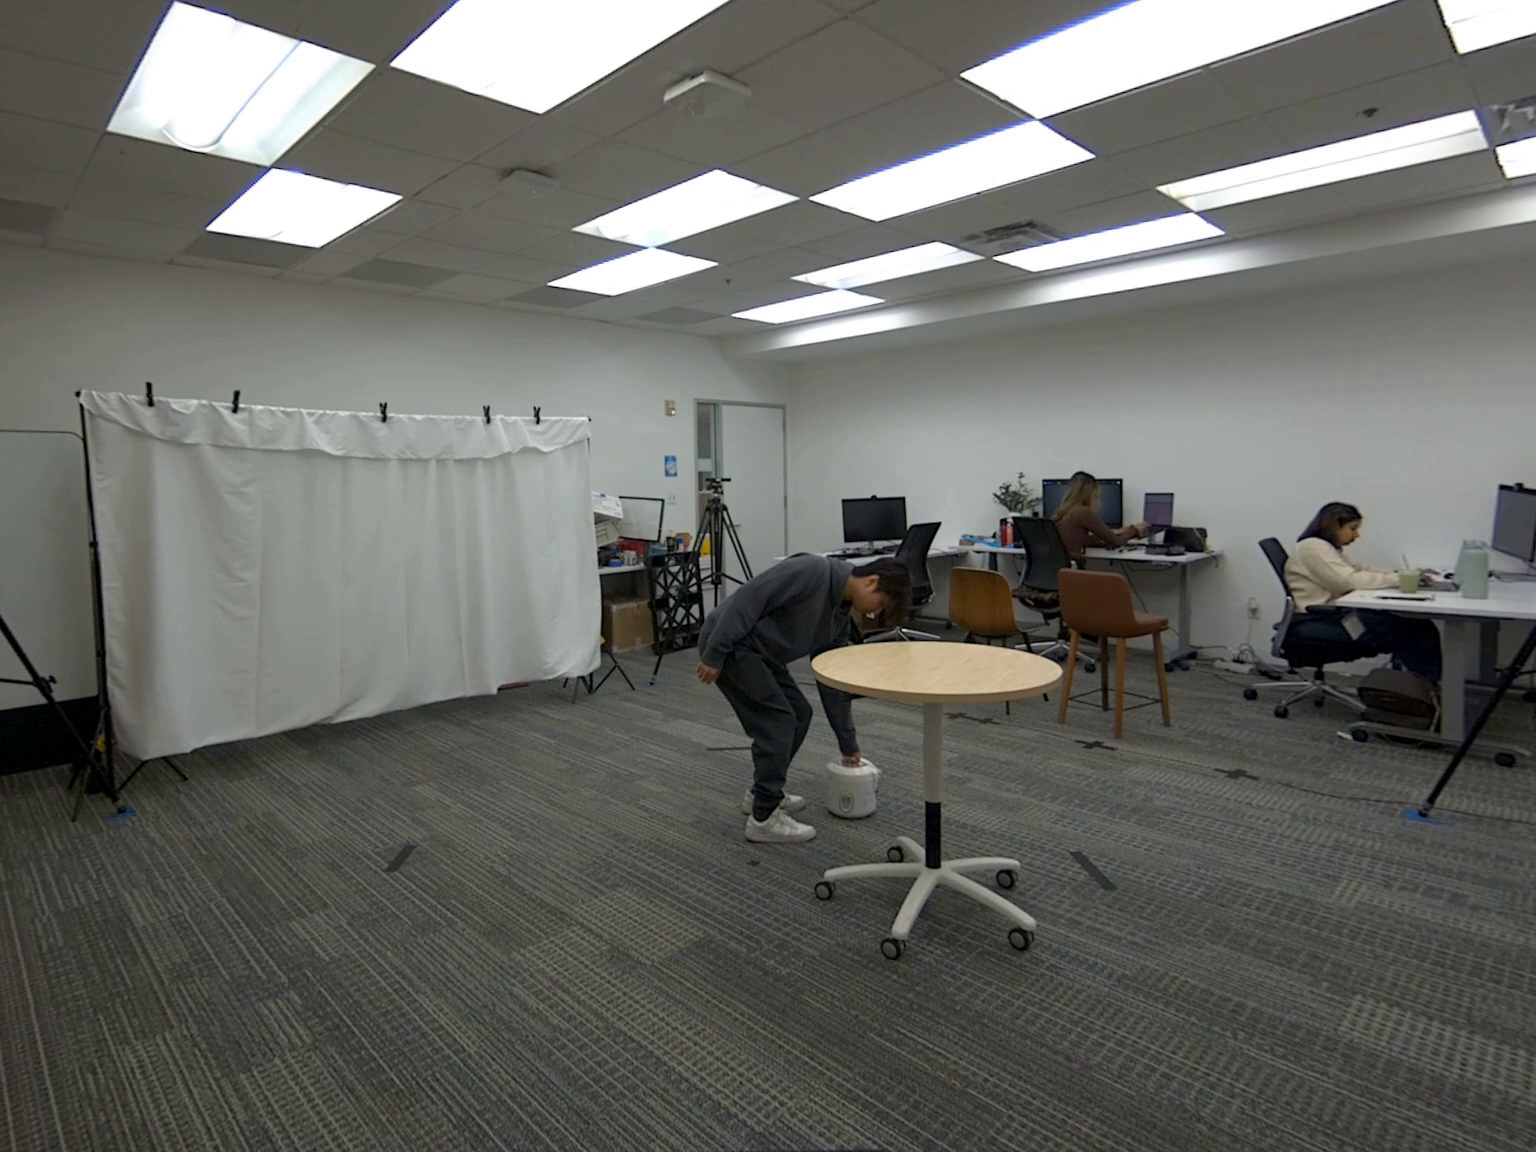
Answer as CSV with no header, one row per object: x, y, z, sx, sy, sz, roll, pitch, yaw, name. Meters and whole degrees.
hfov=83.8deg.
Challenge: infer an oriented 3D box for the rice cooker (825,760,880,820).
0.348,0.863,3.558,0.225,0.232,0.214,0,5,19,rice cooker
